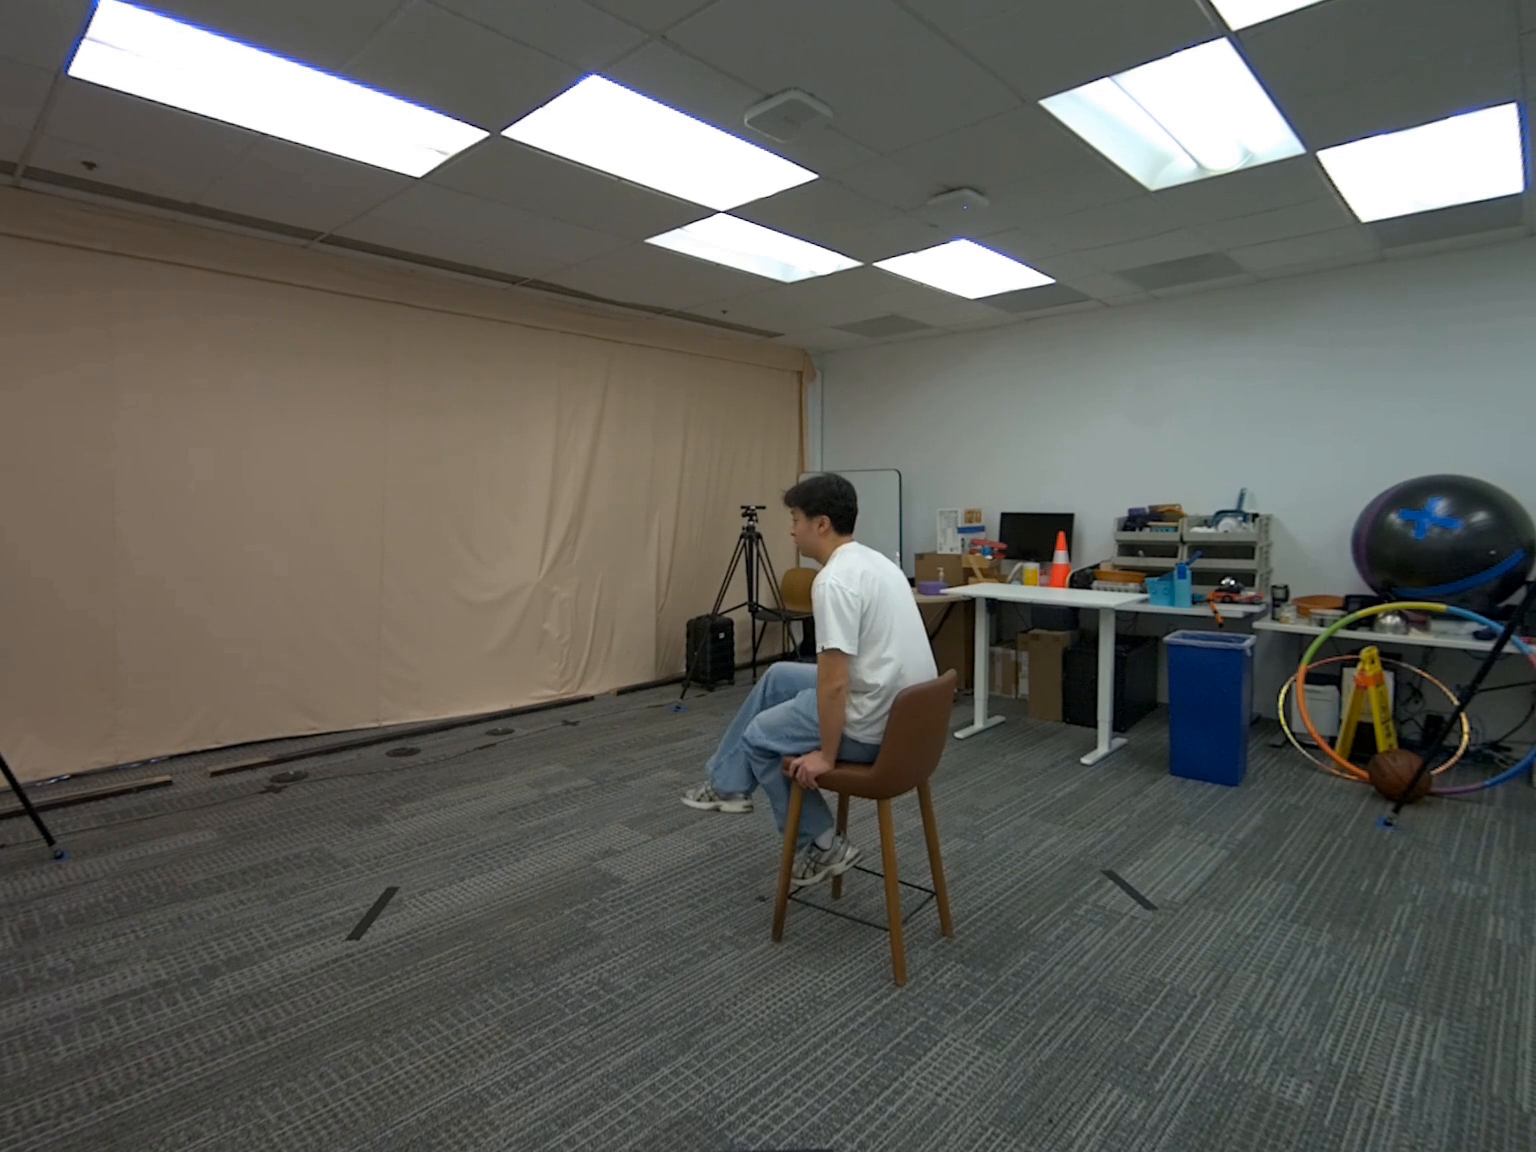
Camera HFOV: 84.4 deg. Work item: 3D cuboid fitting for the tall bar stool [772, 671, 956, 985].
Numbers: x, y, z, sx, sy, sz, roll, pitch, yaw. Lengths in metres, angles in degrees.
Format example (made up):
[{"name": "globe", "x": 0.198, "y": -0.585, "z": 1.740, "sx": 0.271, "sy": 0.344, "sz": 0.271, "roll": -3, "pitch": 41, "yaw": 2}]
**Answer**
[{"name": "tall bar stool", "x": 0.323, "y": 0.735, "z": 2.683, "sx": 0.483, "sy": 0.886, "sz": 0.443, "roll": 6, "pitch": 7, "yaw": 36}]
